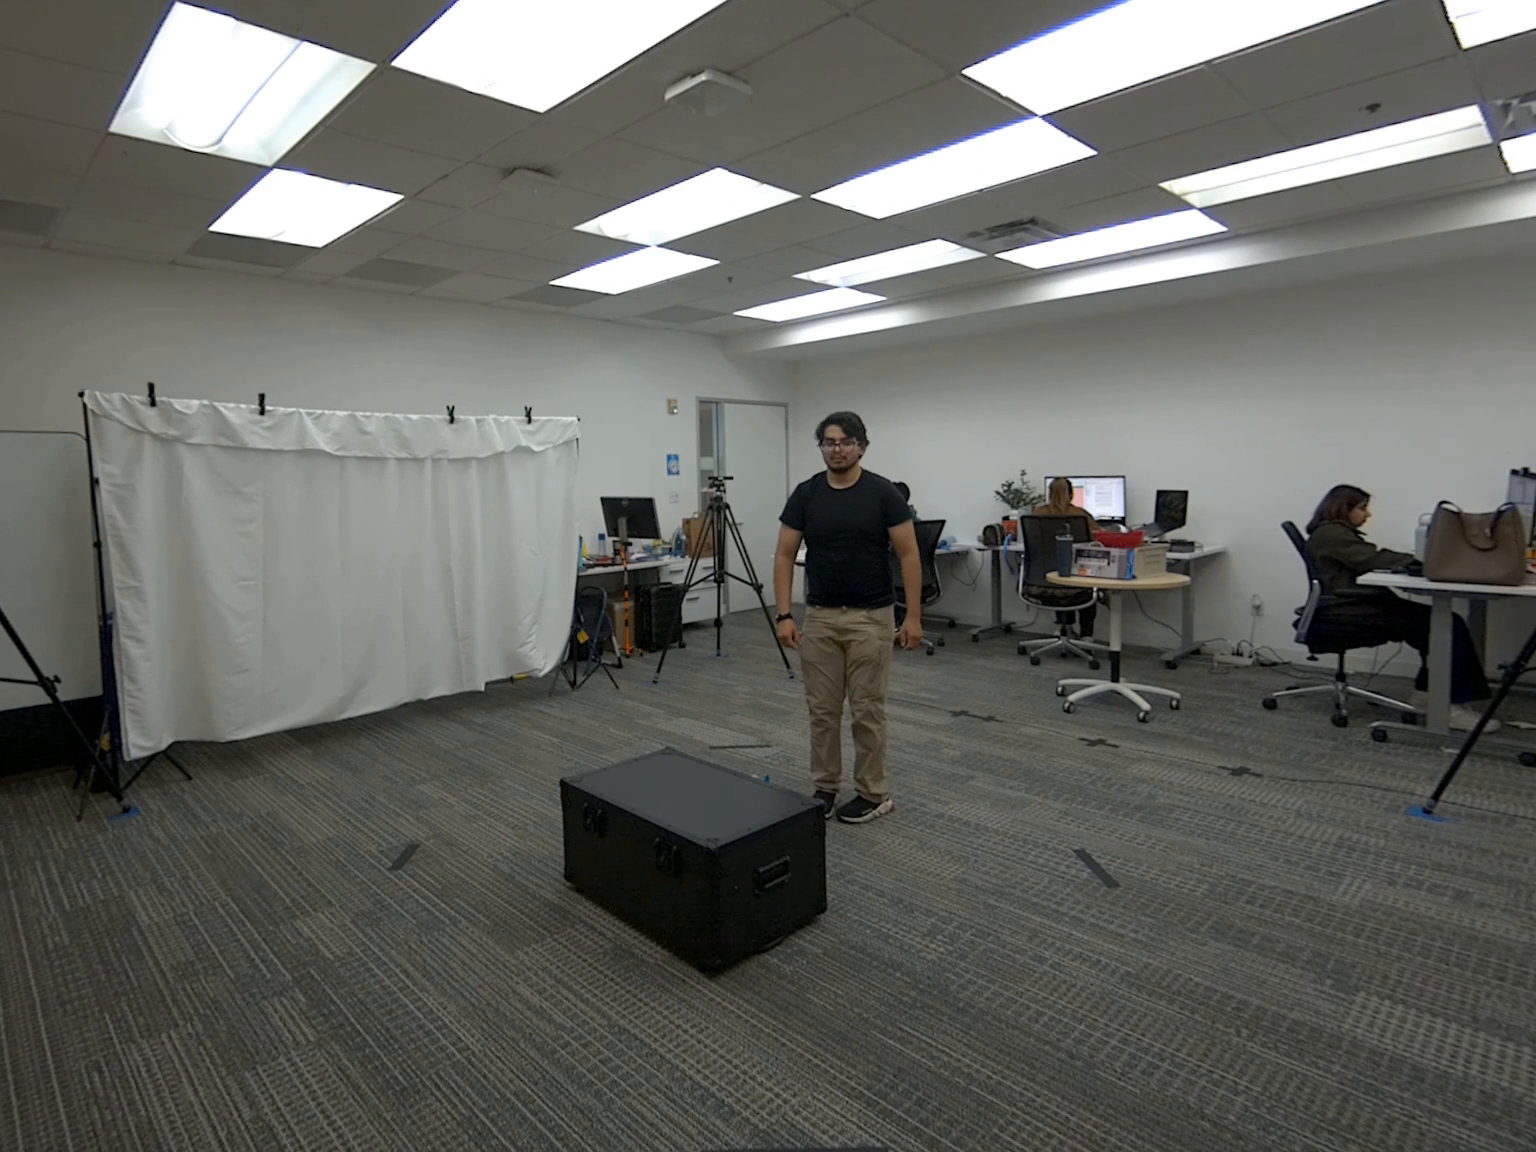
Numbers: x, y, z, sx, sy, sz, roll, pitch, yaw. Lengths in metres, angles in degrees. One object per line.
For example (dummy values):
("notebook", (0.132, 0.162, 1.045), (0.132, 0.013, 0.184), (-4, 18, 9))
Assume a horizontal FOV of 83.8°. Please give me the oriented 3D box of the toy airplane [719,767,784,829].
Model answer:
("toy airplane", (-0.070, 0.912, 3.542), (0.252, 0.155, 0.260), (-1, 7, 1))
